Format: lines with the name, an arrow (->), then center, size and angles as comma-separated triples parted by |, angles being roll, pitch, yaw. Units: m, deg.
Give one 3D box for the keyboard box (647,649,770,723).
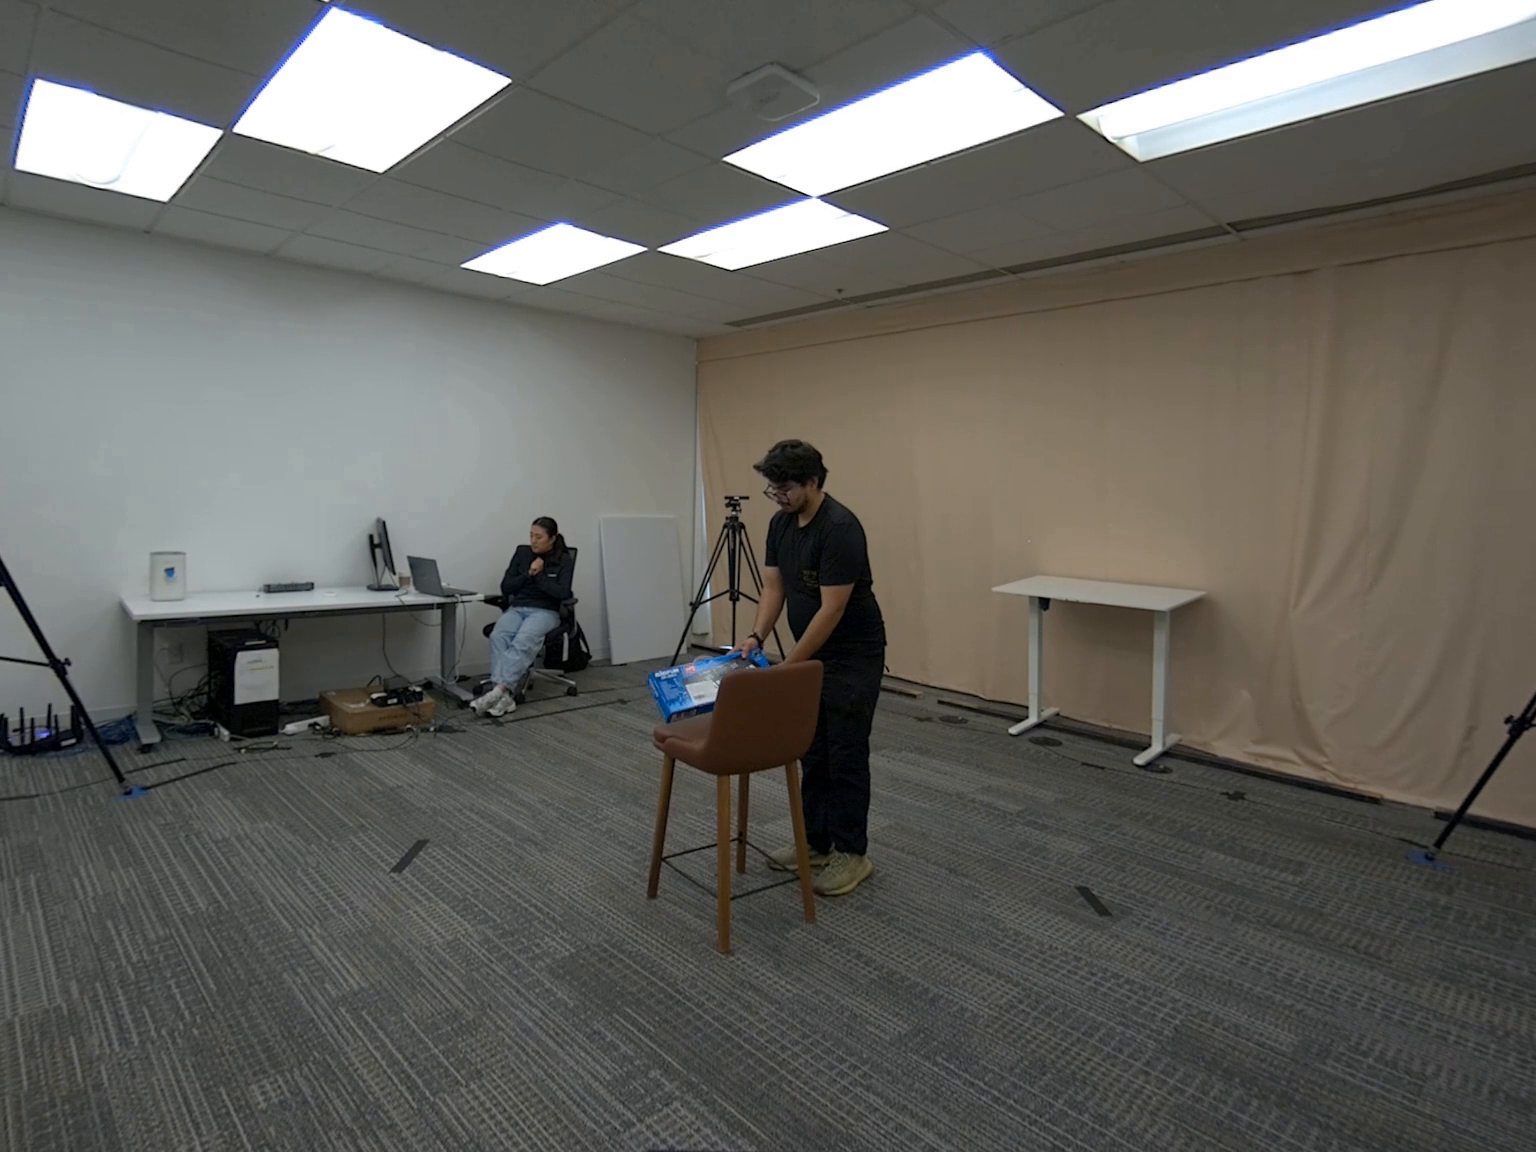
keyboard box -> -0.188, 0.373, 2.865 | 0.429, 0.058, 0.181 | -10, 51, -32
